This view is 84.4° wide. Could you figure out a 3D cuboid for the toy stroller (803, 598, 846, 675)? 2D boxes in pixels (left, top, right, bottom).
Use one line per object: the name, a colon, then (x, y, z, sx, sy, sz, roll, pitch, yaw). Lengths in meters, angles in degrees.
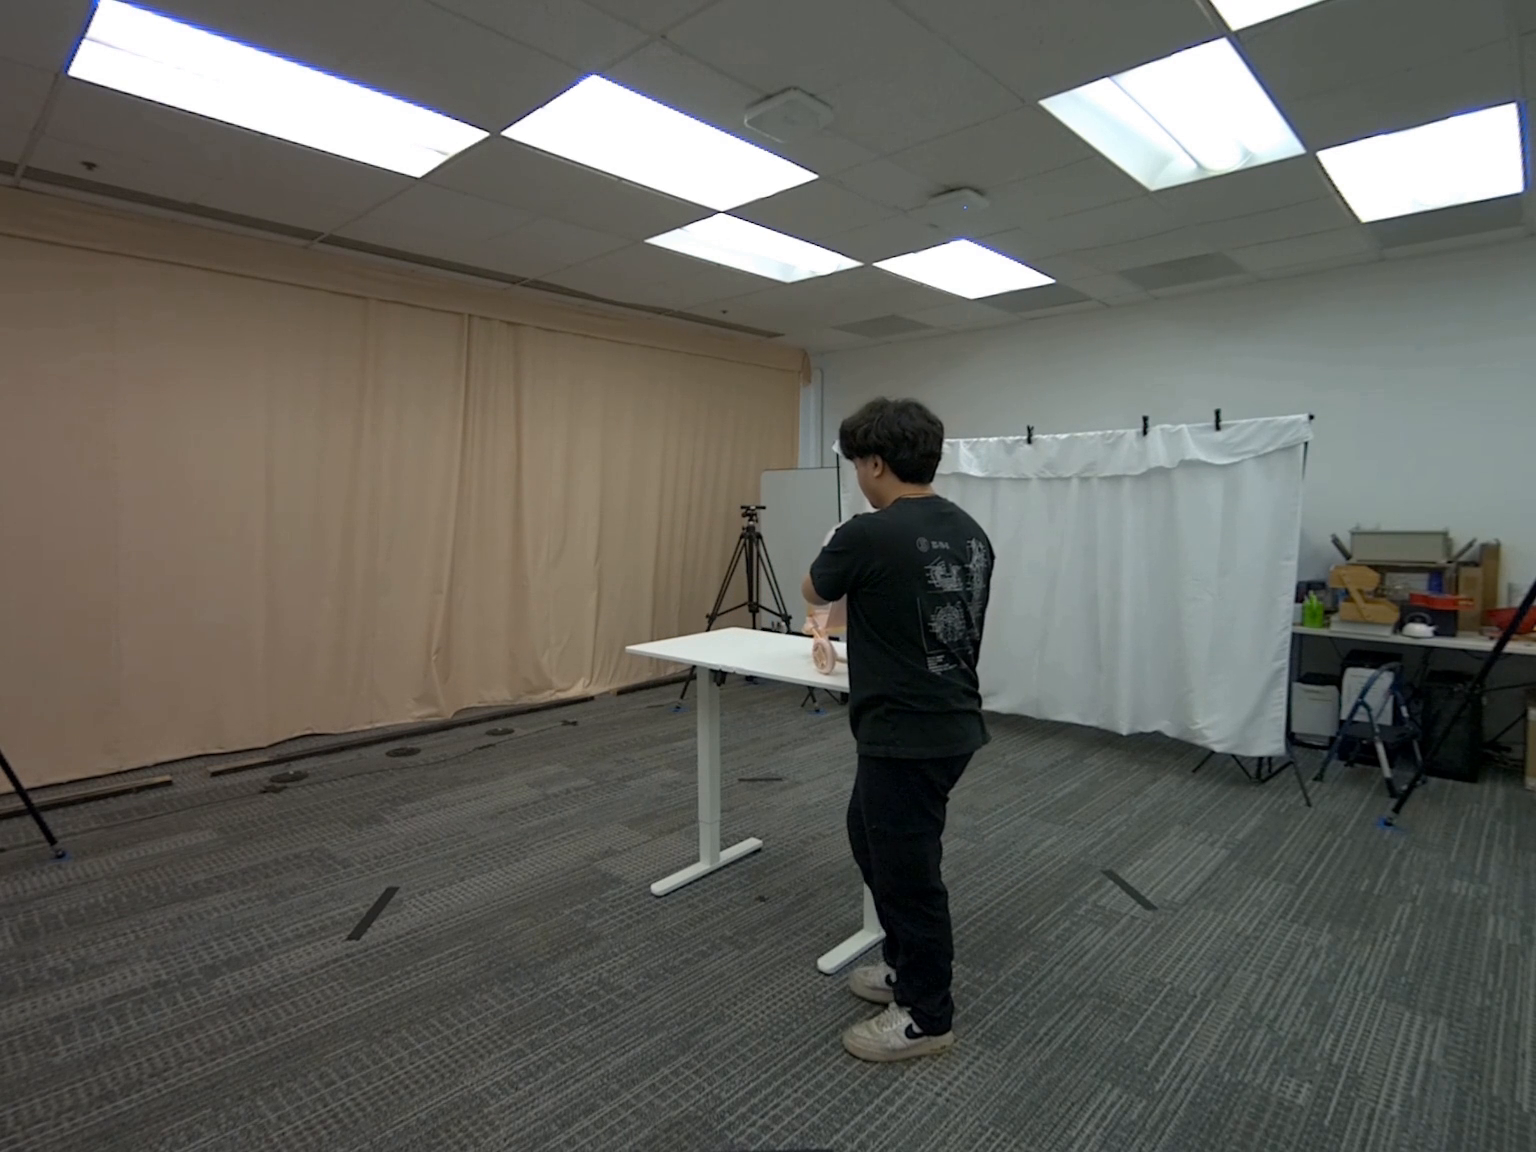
toy stroller: (0.261, 0.064, 2.658, 0.276, 0.530, 0.351, -1, 19, -20)
